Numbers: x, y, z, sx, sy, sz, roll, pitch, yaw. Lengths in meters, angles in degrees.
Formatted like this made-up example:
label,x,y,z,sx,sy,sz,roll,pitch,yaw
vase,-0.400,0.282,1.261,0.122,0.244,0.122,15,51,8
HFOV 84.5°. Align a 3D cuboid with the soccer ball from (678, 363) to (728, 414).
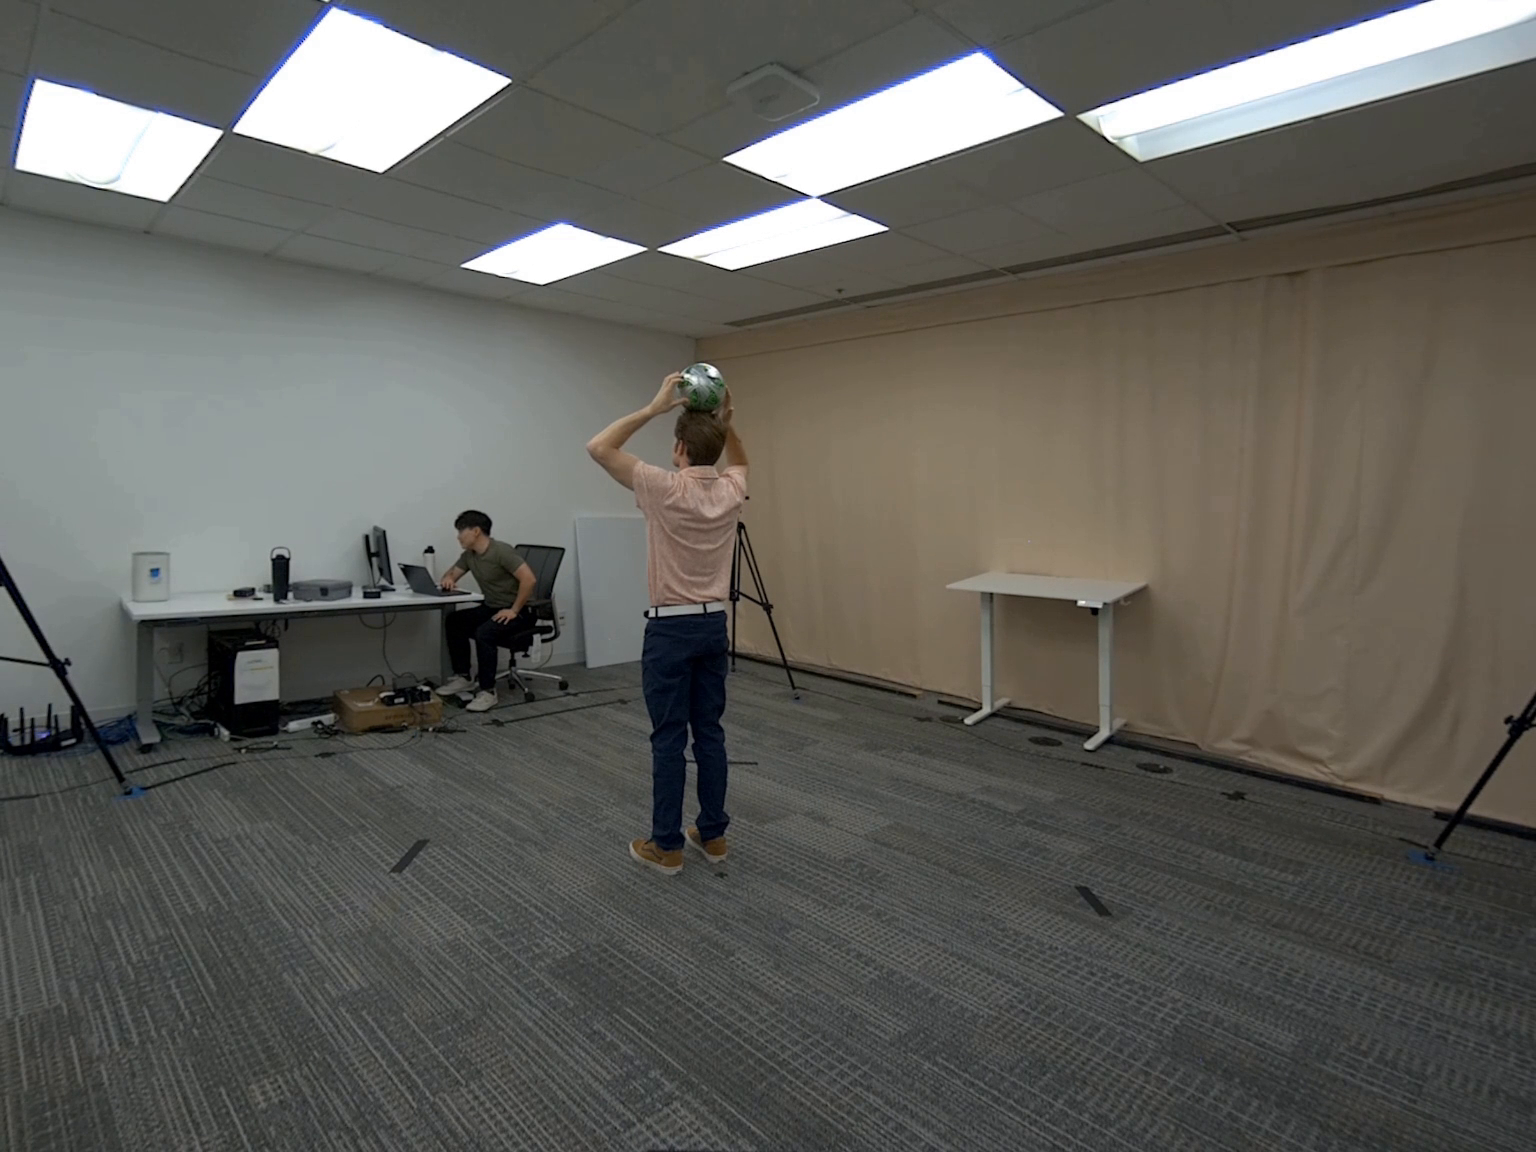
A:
label,x,y,z,sx,sy,sz,roll,pitch,yaw
soccer ball,-0.258,-0.697,3.145,0.187,0.187,0.188,1,4,-1
